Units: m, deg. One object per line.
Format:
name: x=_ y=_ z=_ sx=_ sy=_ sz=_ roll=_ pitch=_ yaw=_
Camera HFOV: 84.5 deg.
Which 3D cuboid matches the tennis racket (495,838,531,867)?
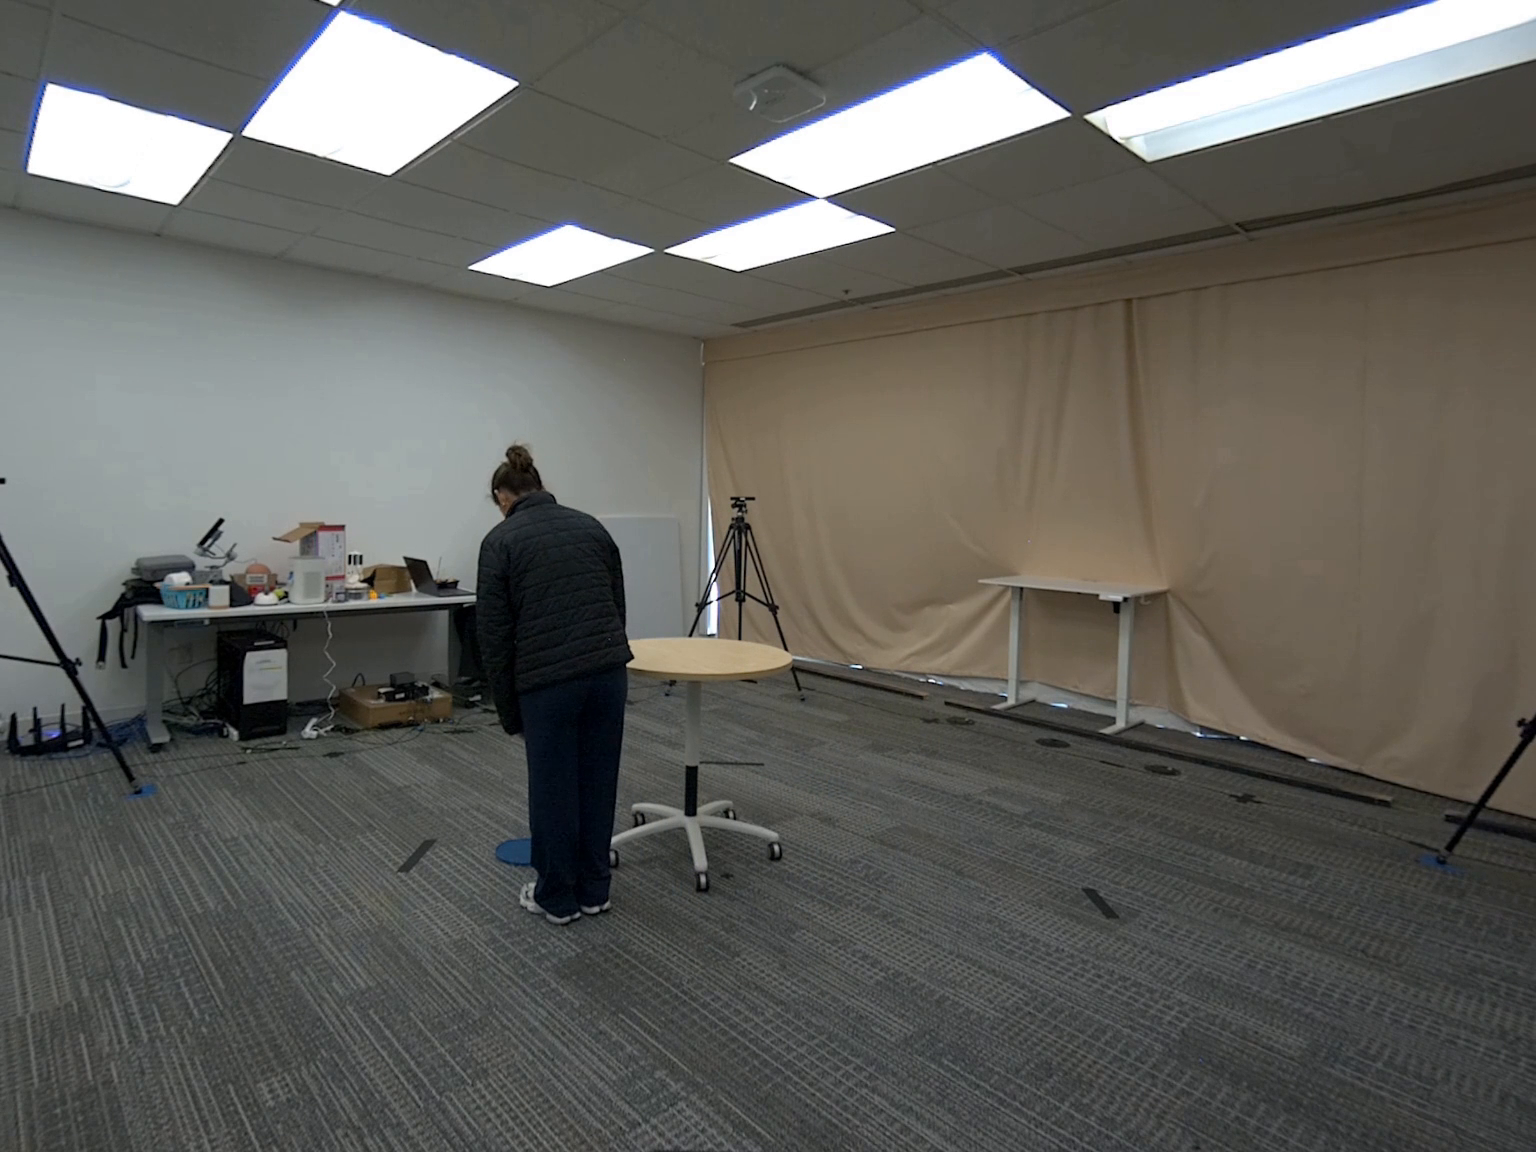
tennis racket: x=-0.880 y=1.070 z=3.181 sx=0.209 sy=0.032 sz=0.444 roll=-4 pitch=6 yaw=-44
